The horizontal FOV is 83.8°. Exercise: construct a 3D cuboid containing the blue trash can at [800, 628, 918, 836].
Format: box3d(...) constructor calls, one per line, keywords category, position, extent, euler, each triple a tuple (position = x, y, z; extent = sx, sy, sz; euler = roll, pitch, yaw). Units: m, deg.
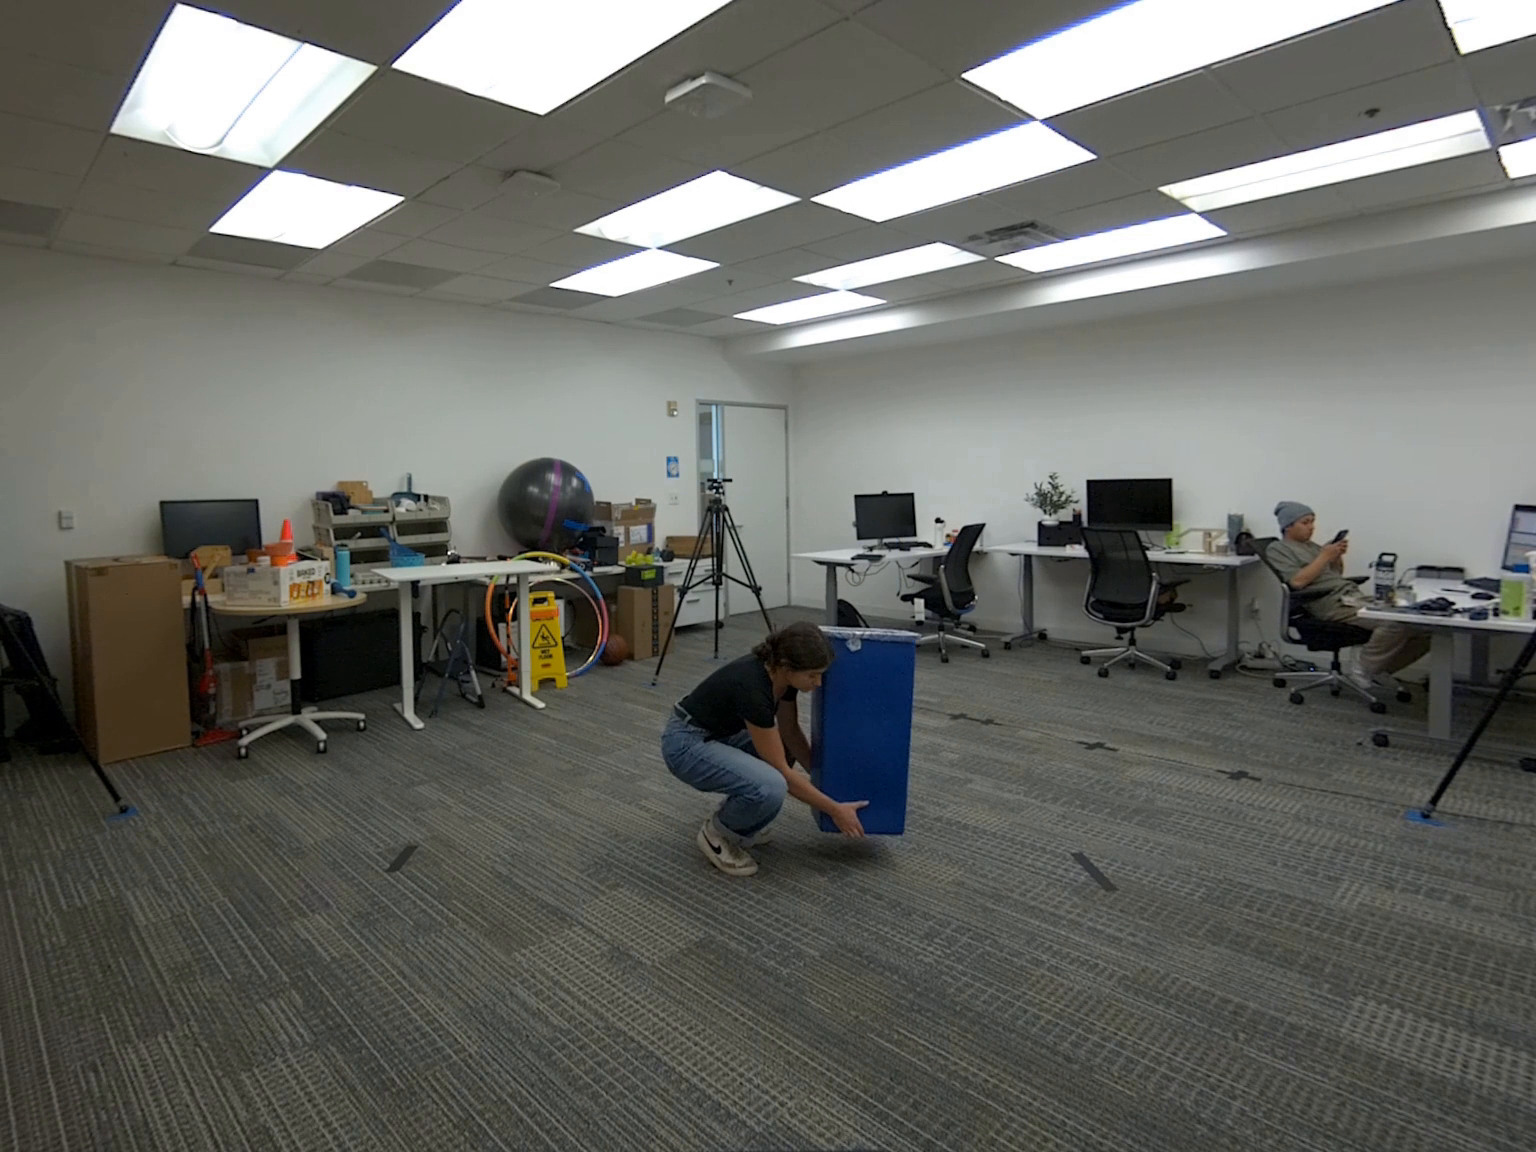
box3d(category="blue trash can", position=(0.343, 0.558, 3.208), extent=(0.378, 0.715, 0.373), euler=(3, -3, -1))
